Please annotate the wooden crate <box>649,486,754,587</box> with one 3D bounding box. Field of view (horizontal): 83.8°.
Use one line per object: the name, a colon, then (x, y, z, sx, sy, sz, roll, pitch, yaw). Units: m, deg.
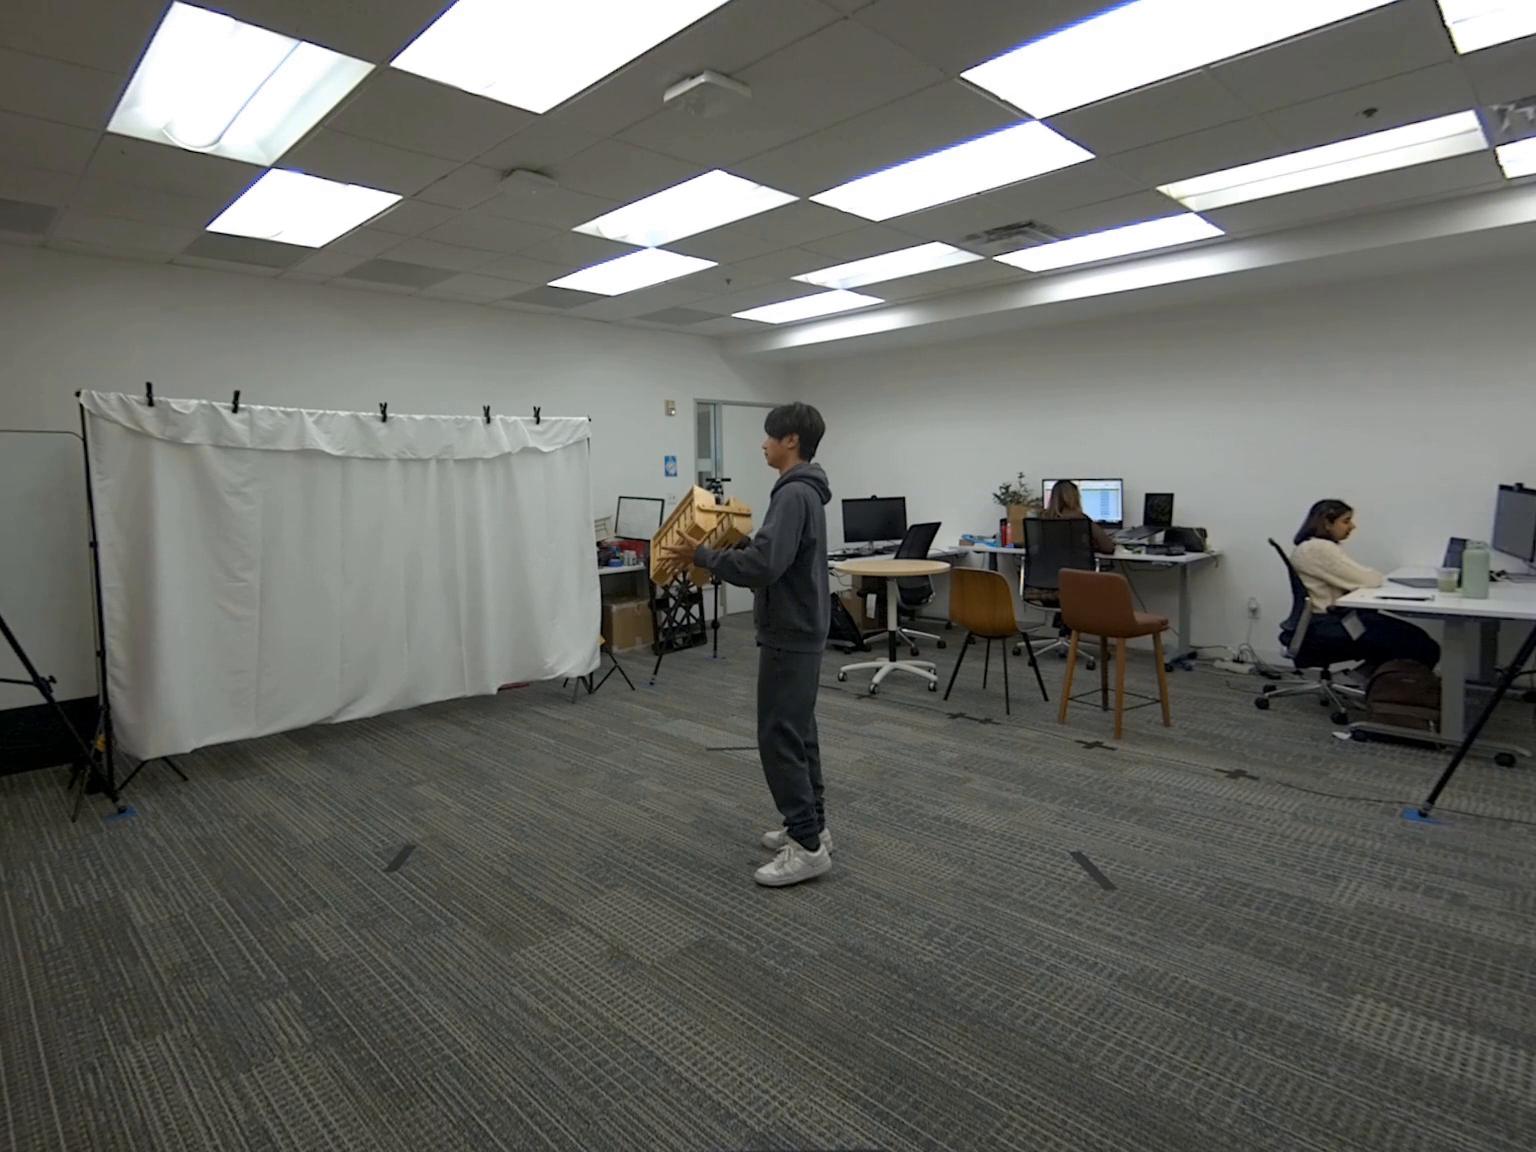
wooden crate: (-0.238, -0.119, 3.159, 0.266, 0.324, 0.311, 26, 34, -25)
